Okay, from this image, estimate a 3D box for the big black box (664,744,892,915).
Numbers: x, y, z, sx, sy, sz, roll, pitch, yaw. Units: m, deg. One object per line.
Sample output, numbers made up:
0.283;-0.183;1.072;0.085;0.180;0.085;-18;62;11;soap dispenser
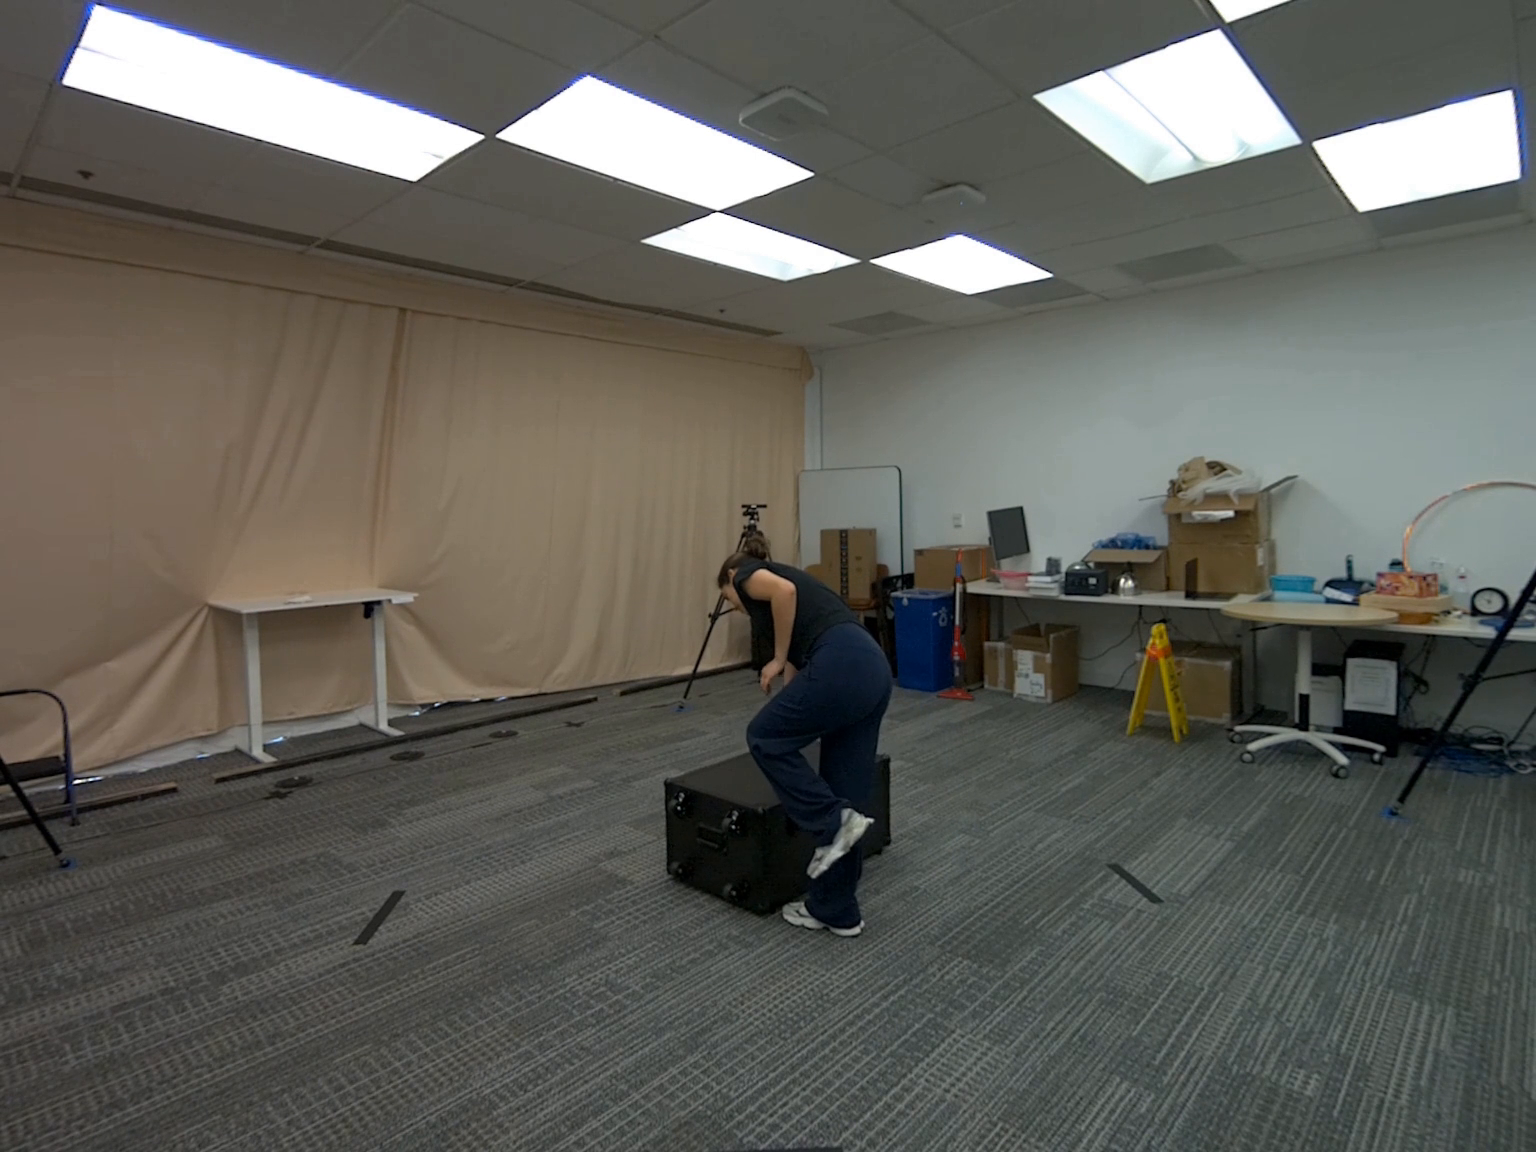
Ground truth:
0.049;0.911;3.226;0.538;0.395;0.836;3;7;42;big black box
